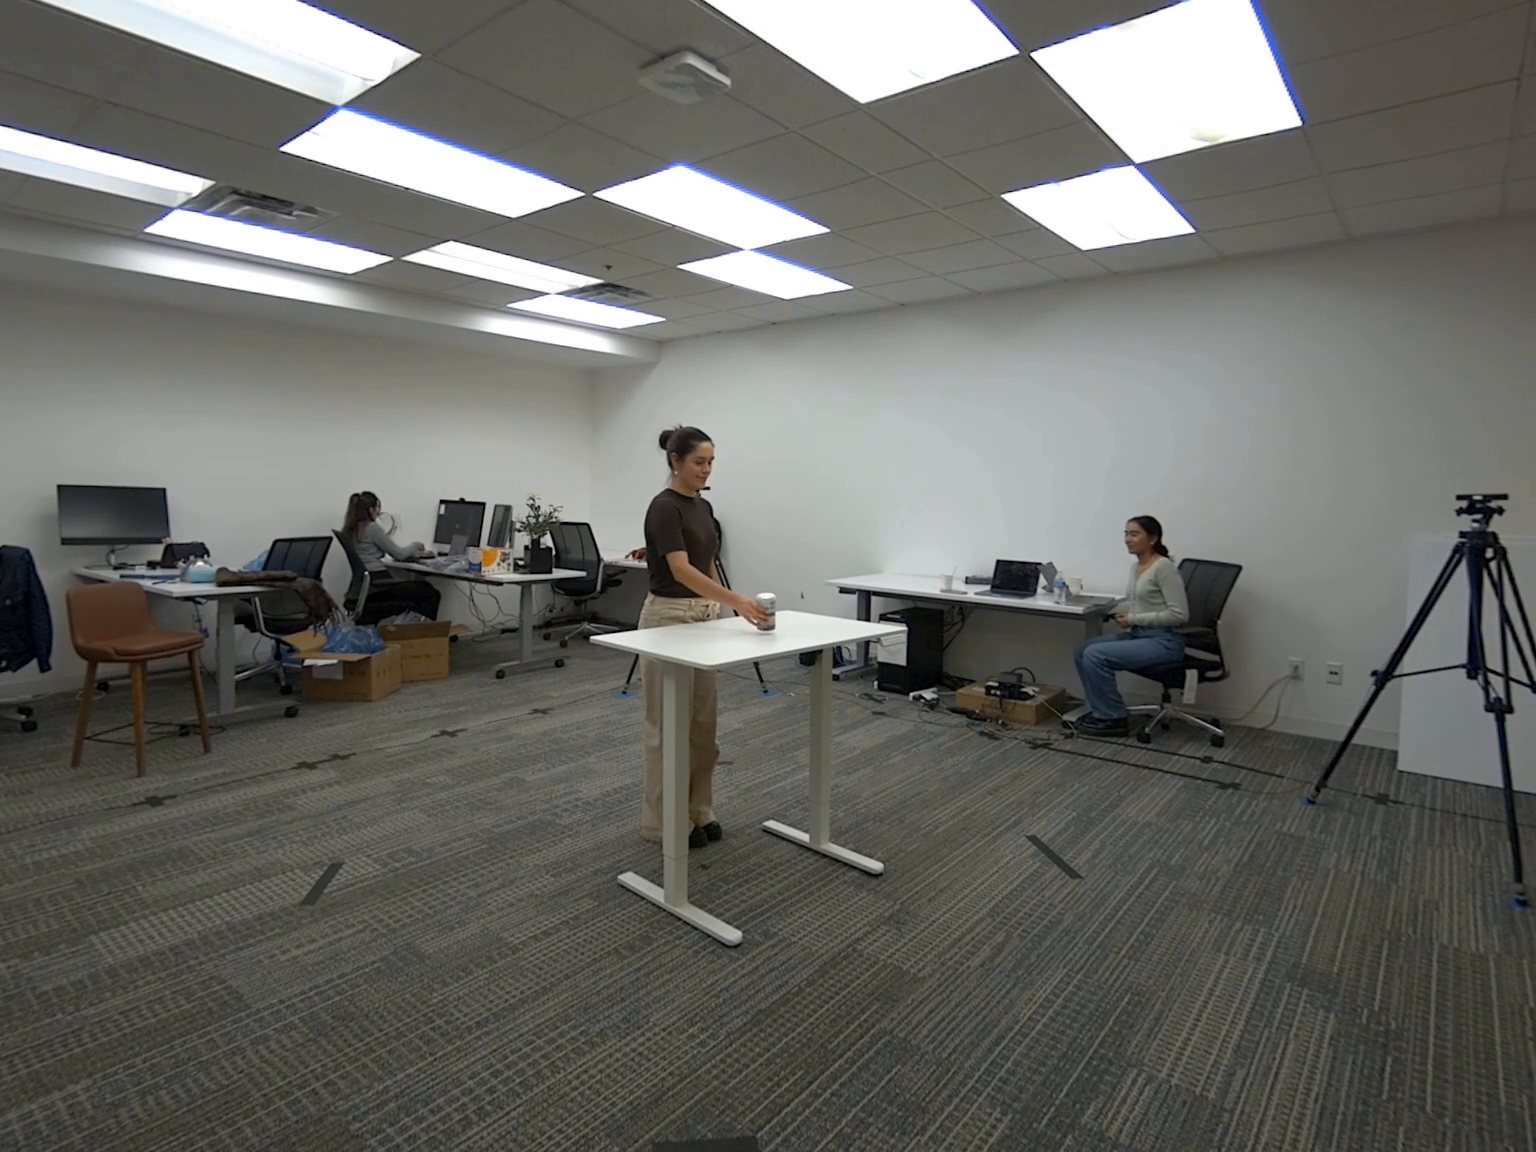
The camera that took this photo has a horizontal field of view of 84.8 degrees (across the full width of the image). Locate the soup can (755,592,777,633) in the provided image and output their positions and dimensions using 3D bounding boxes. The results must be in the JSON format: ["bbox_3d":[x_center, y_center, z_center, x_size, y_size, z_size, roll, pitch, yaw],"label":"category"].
[{"bbox_3d":[-0.023,0.125,2.948,0.067,0.120,0.068,0,10,-2],"label":"soup can"}]
